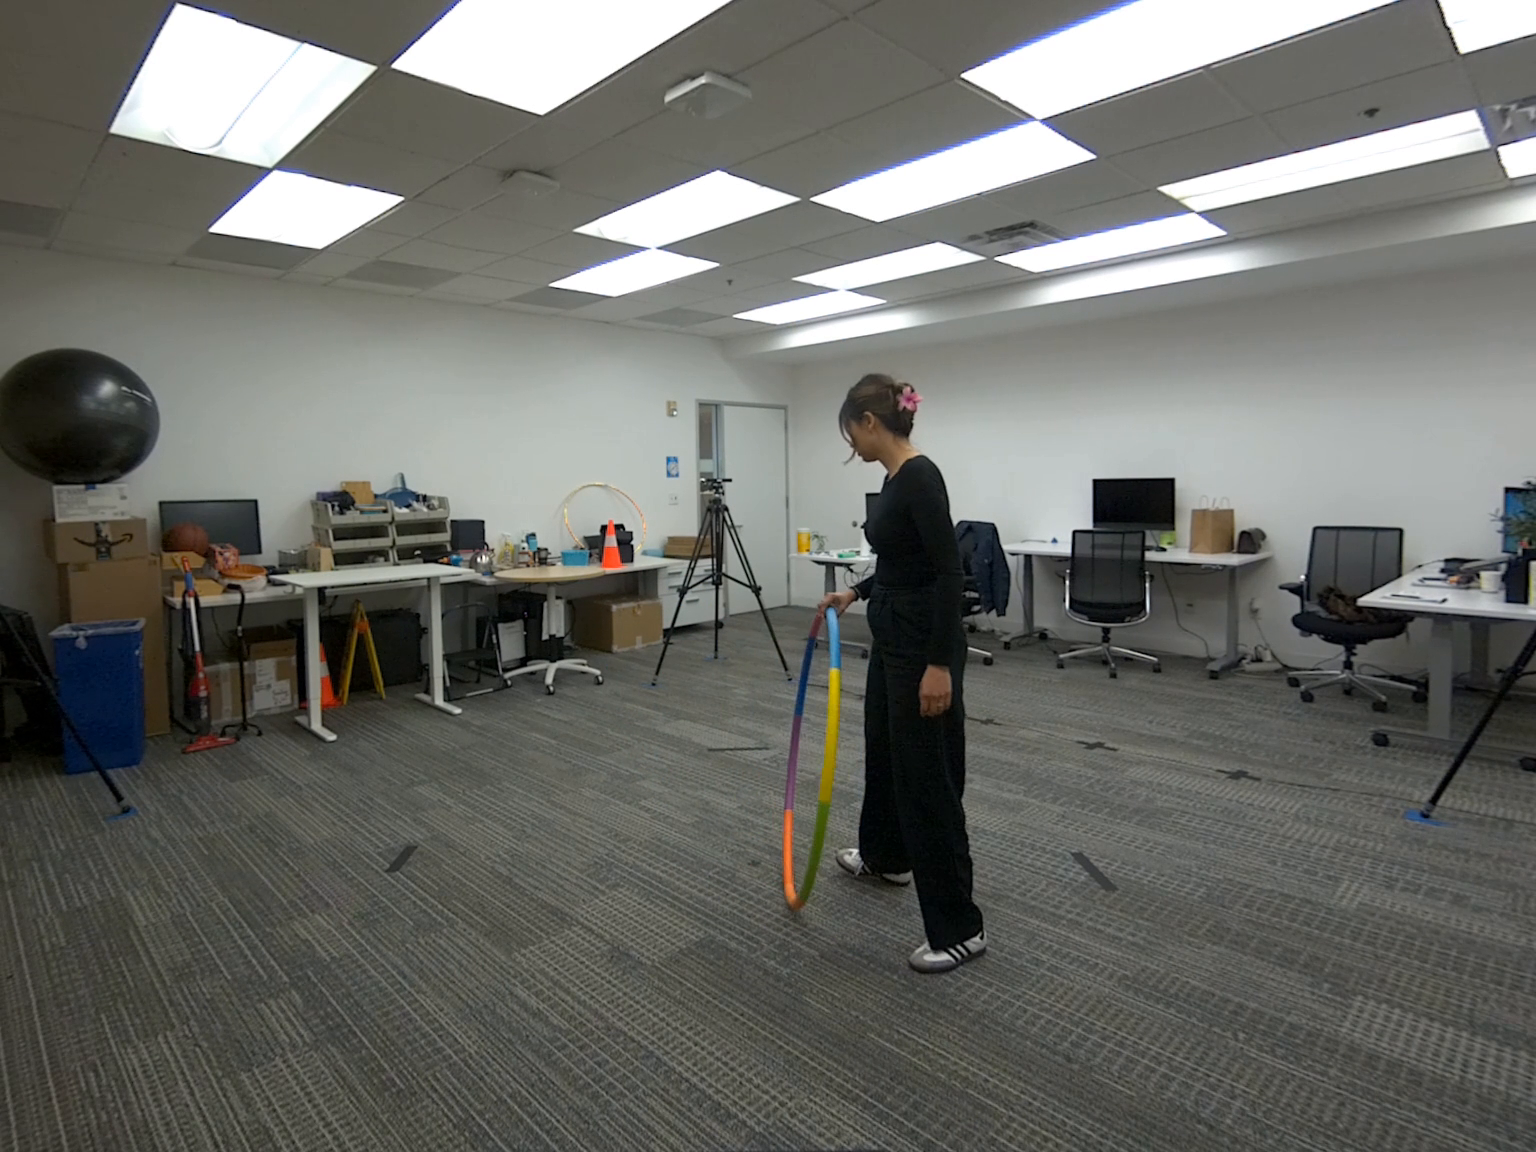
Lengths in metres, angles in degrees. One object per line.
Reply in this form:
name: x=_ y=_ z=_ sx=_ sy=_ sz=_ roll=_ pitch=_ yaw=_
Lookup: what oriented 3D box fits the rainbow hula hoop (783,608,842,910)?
rainbow hula hoop: x=0.142 y=0.584 z=2.861 sx=0.035 sy=0.975 sz=0.984 roll=6 pitch=5 yaw=-4
